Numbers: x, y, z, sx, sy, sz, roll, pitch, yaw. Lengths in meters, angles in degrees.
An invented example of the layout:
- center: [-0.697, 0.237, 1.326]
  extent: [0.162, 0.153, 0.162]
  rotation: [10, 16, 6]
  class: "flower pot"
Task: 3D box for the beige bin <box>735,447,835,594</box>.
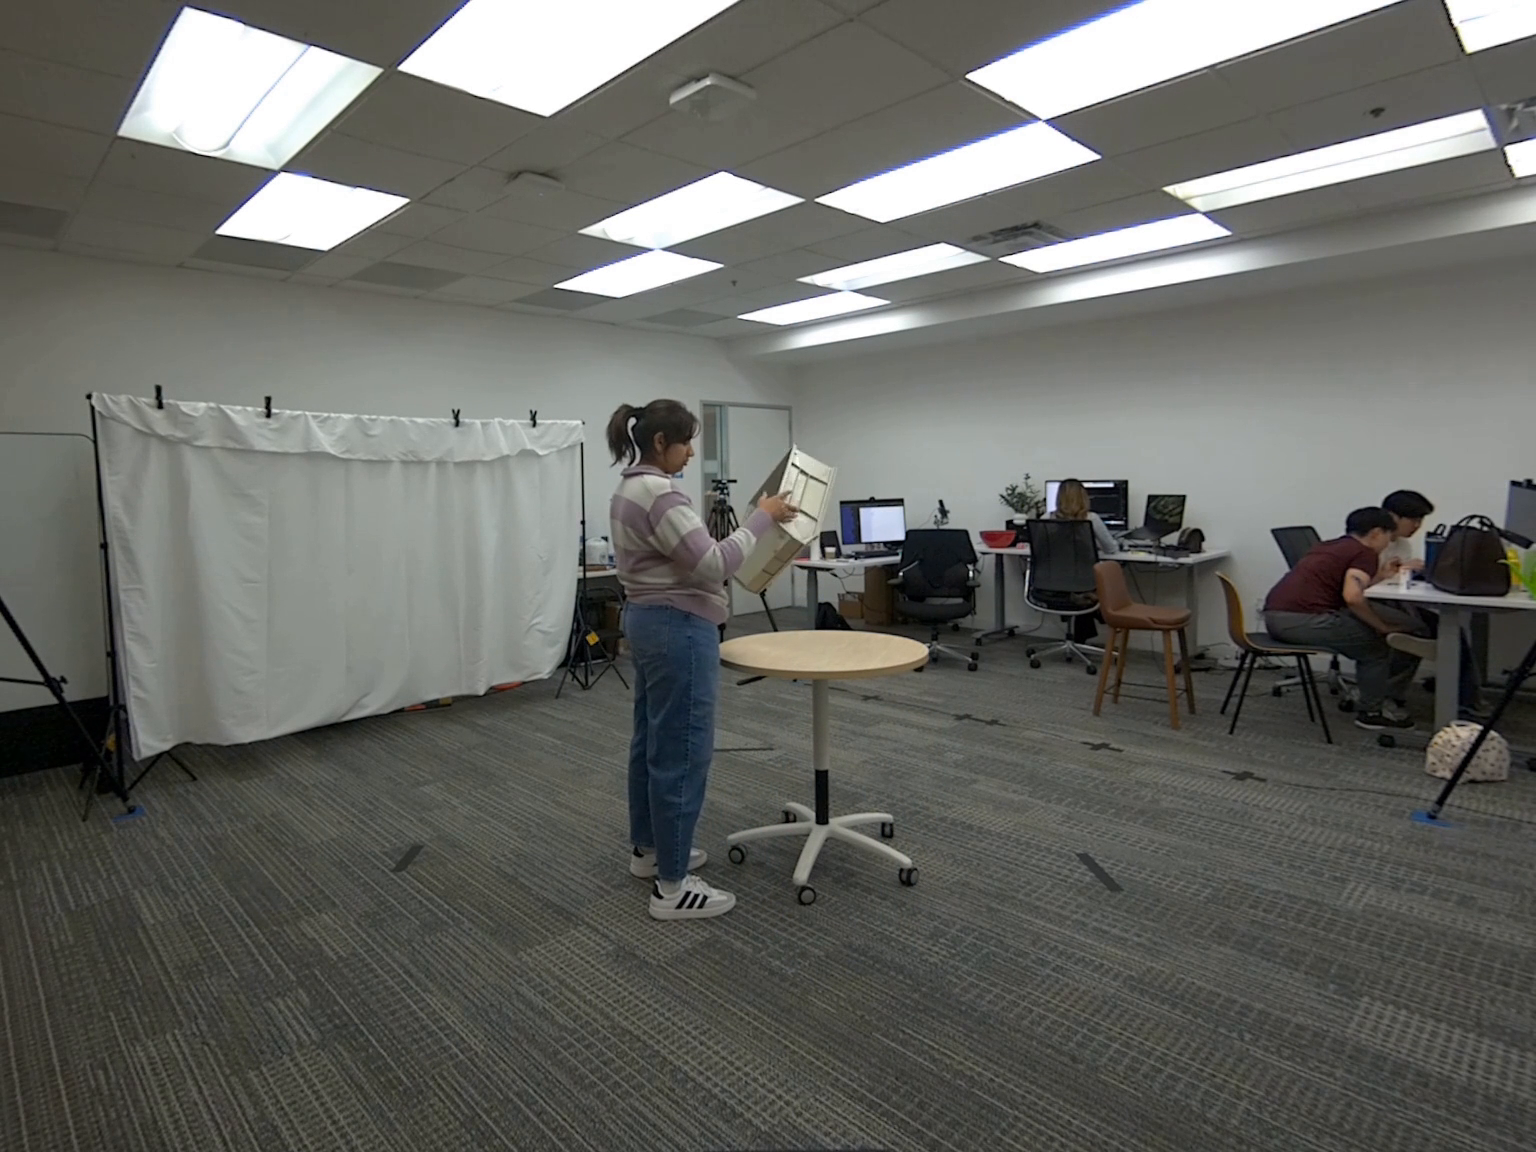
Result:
- center: [0.043, -0.190, 3.068]
  extent: [0.187, 0.383, 0.421]
  rotation: [26, -35, -10]
  class: "beige bin"
